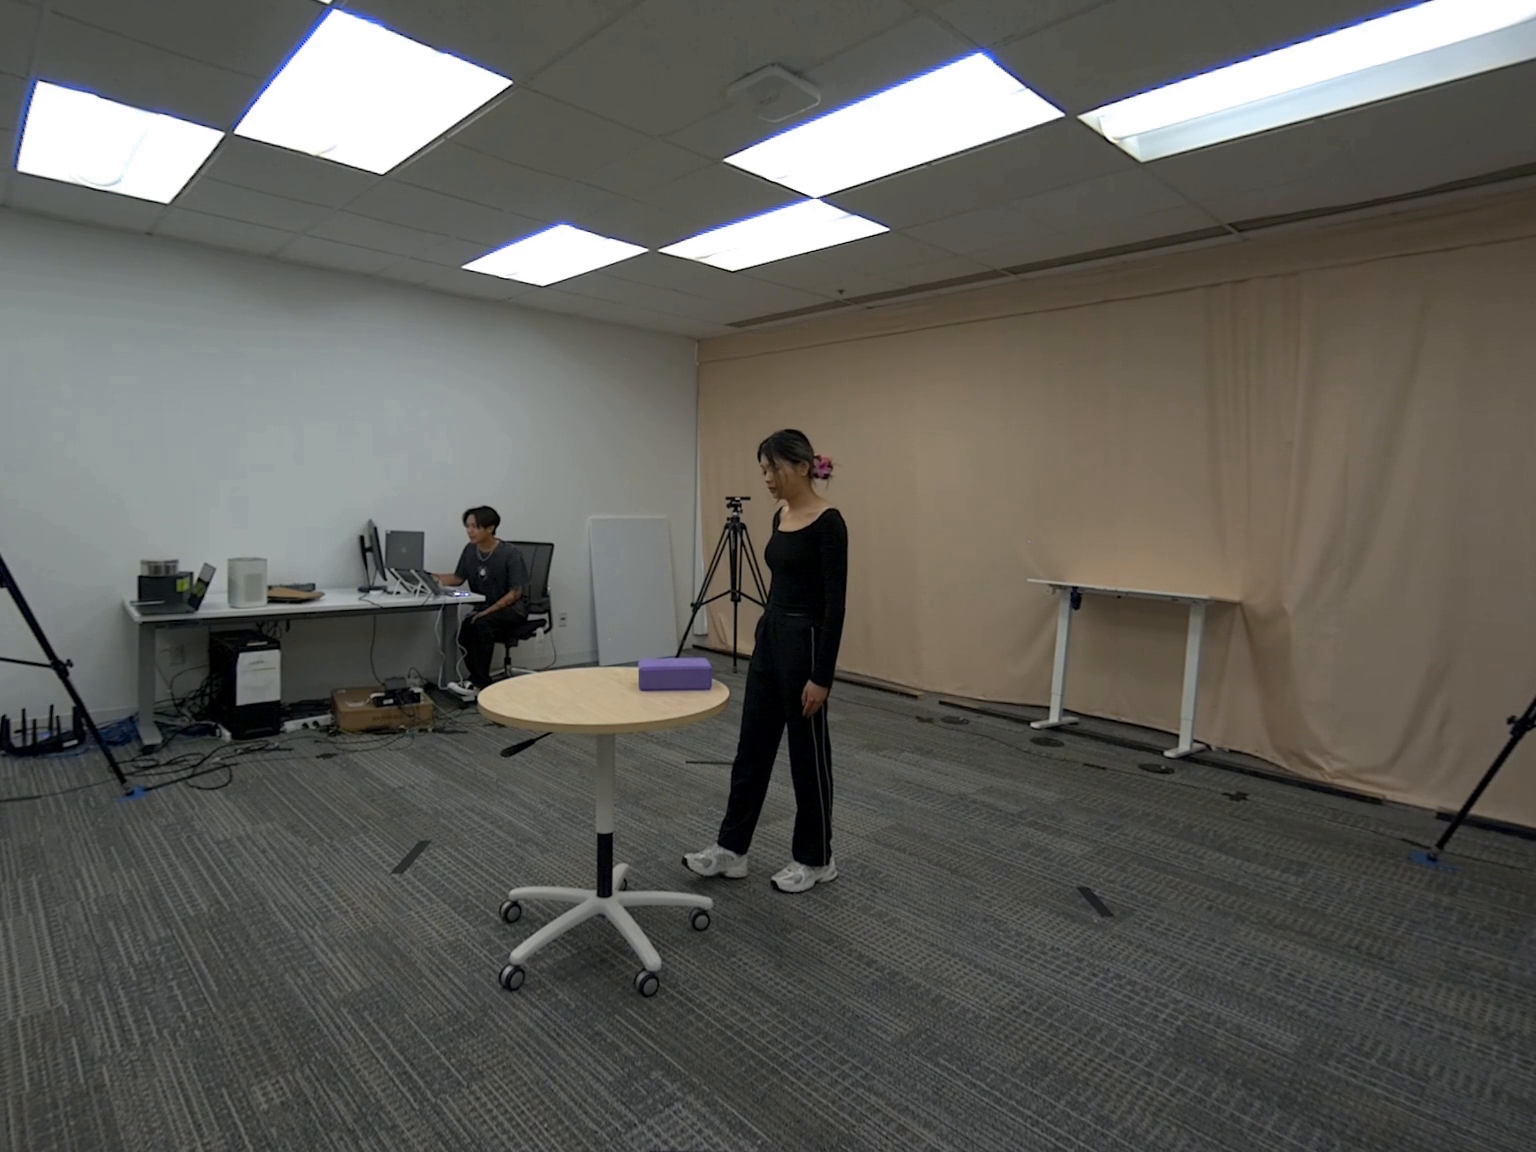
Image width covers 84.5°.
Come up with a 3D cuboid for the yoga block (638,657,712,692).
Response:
[{"bbox_3d":[-0.315,0.317,2.689,0.229,0.076,0.150,1,6,-3],"label":"yoga block"}]
